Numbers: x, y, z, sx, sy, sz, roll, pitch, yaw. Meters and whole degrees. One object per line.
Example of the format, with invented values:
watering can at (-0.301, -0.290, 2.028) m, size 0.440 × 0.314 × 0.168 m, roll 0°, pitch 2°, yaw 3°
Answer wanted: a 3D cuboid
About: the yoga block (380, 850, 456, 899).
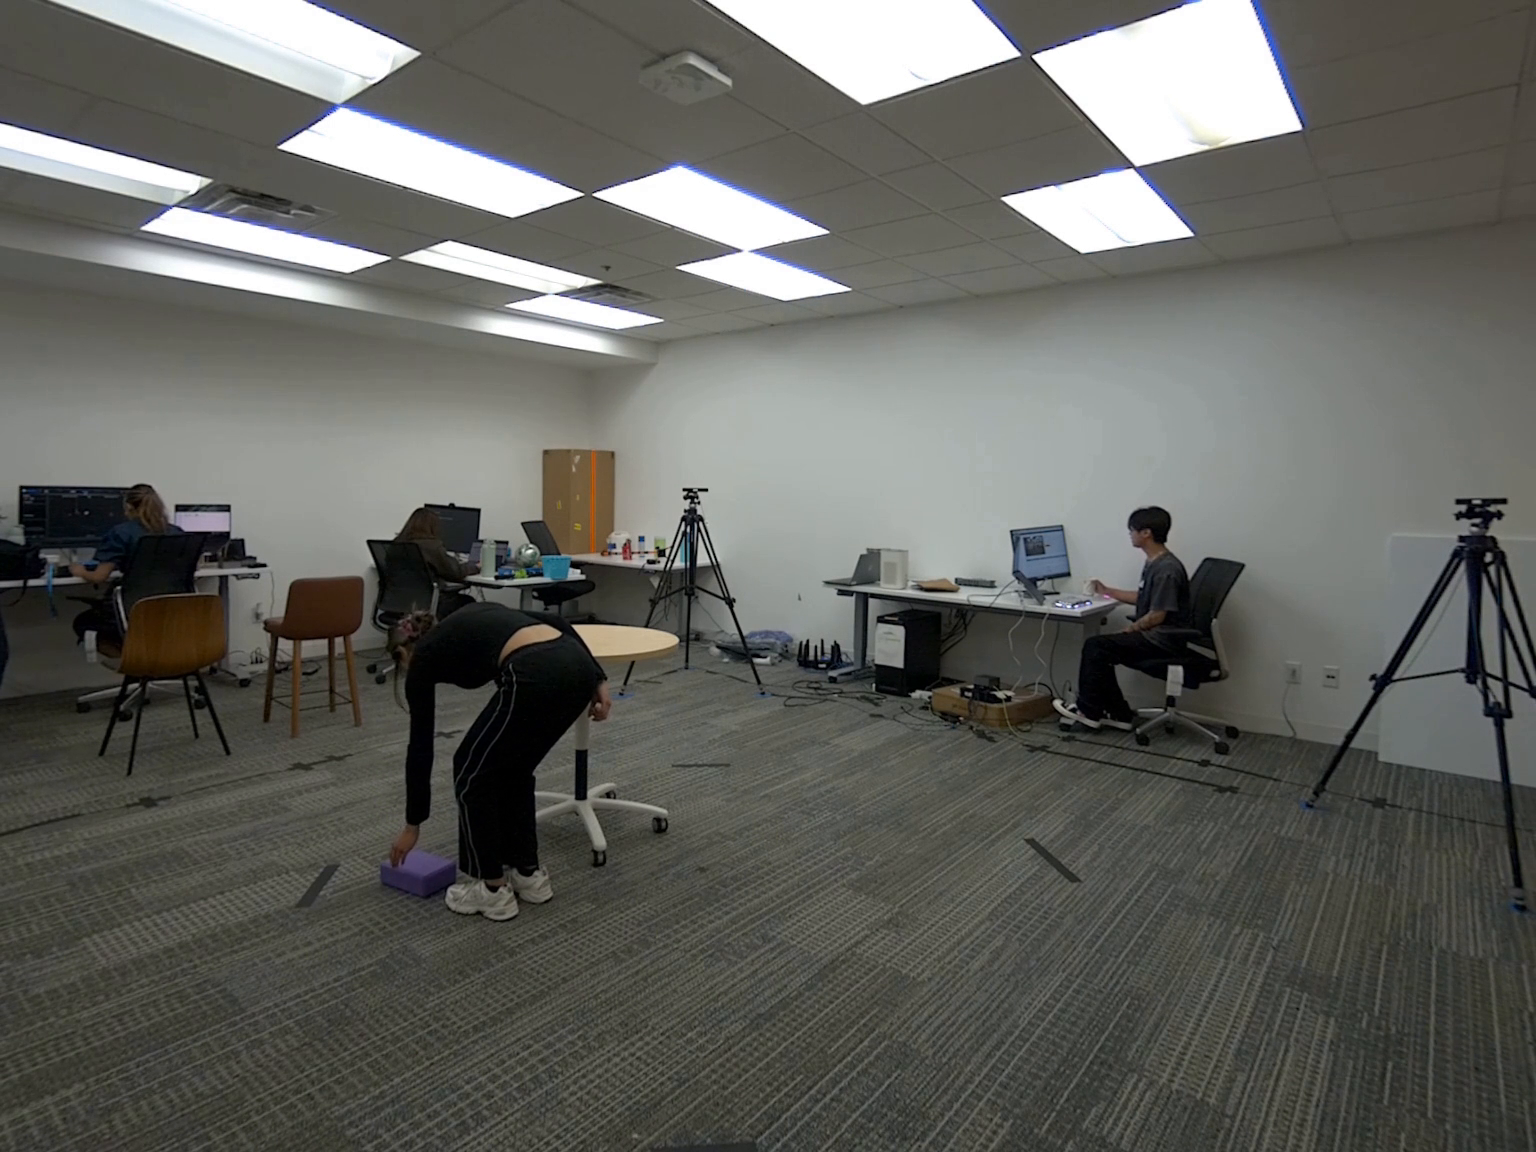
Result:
yoga block at (-1.233, 1.030, 2.966) m, size 0.236 × 0.076 × 0.145 m, roll 3°, pitch 7°, yaw 30°
